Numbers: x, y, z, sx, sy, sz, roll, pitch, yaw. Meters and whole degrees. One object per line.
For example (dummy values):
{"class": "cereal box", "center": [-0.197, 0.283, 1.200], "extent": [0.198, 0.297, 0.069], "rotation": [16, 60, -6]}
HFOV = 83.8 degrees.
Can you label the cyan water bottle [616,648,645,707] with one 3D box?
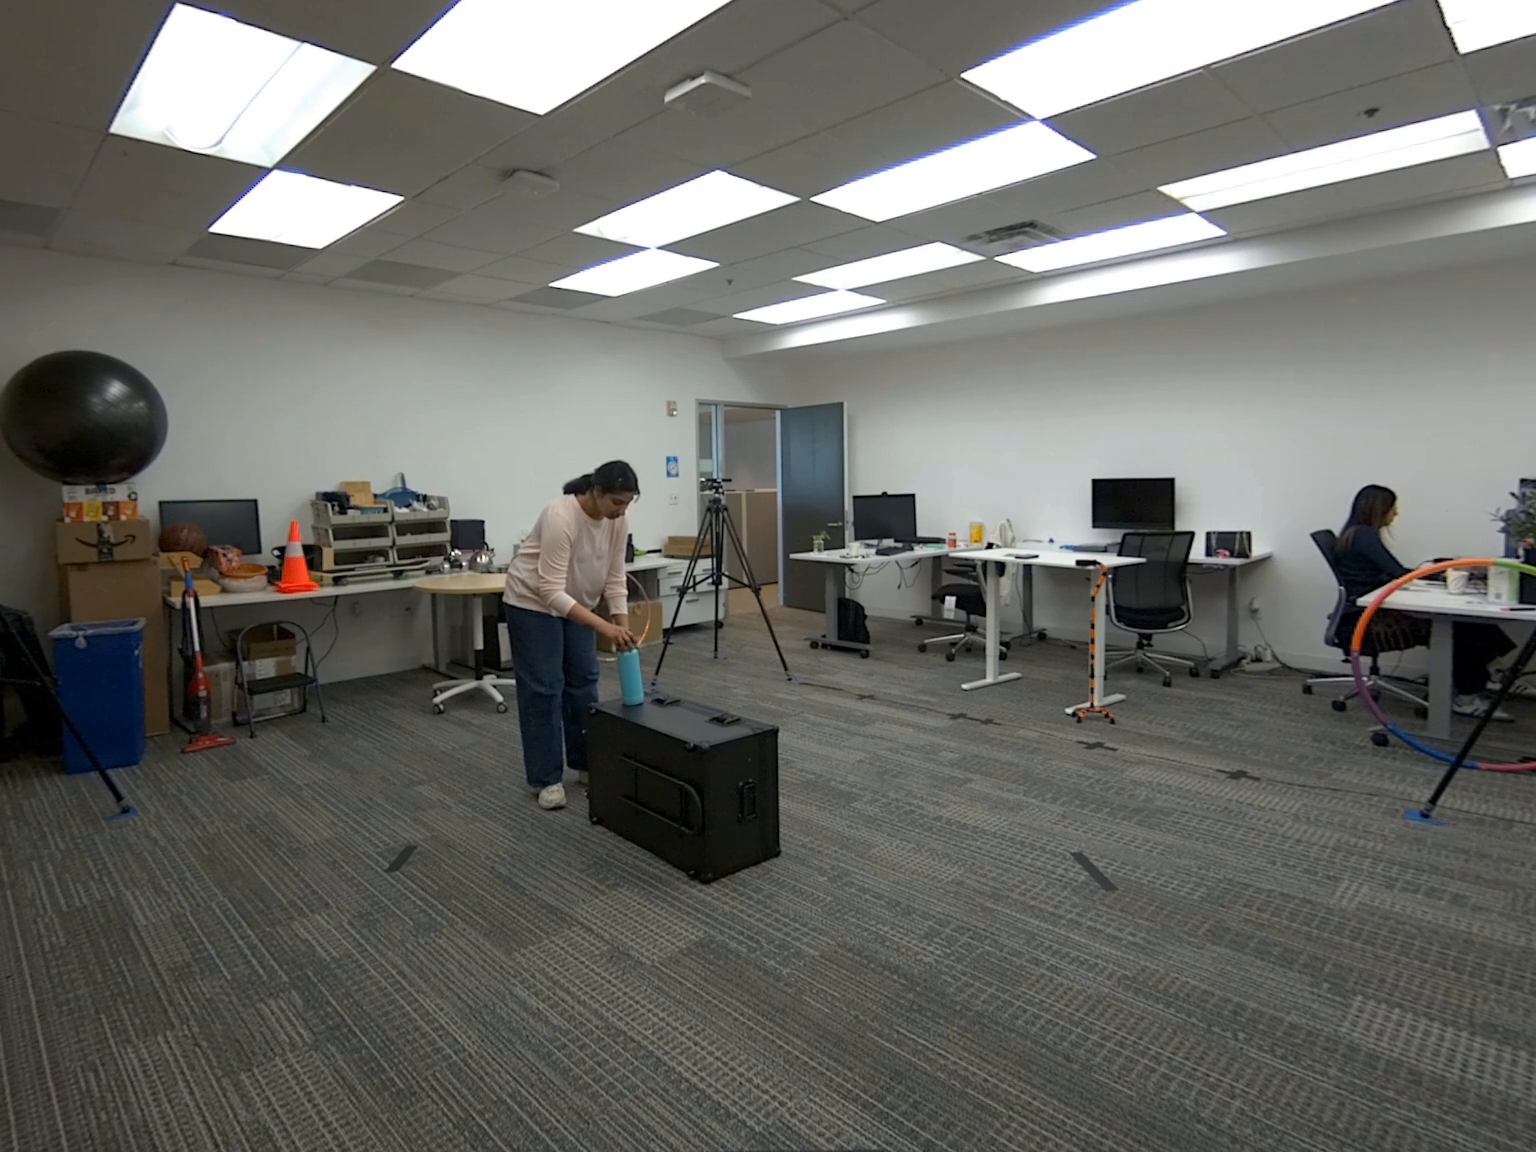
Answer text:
{"class": "cyan water bottle", "center": [-0.575, 0.384, 3.522], "extent": [0.092, 0.281, 0.093], "rotation": [-6, 7, -1]}
